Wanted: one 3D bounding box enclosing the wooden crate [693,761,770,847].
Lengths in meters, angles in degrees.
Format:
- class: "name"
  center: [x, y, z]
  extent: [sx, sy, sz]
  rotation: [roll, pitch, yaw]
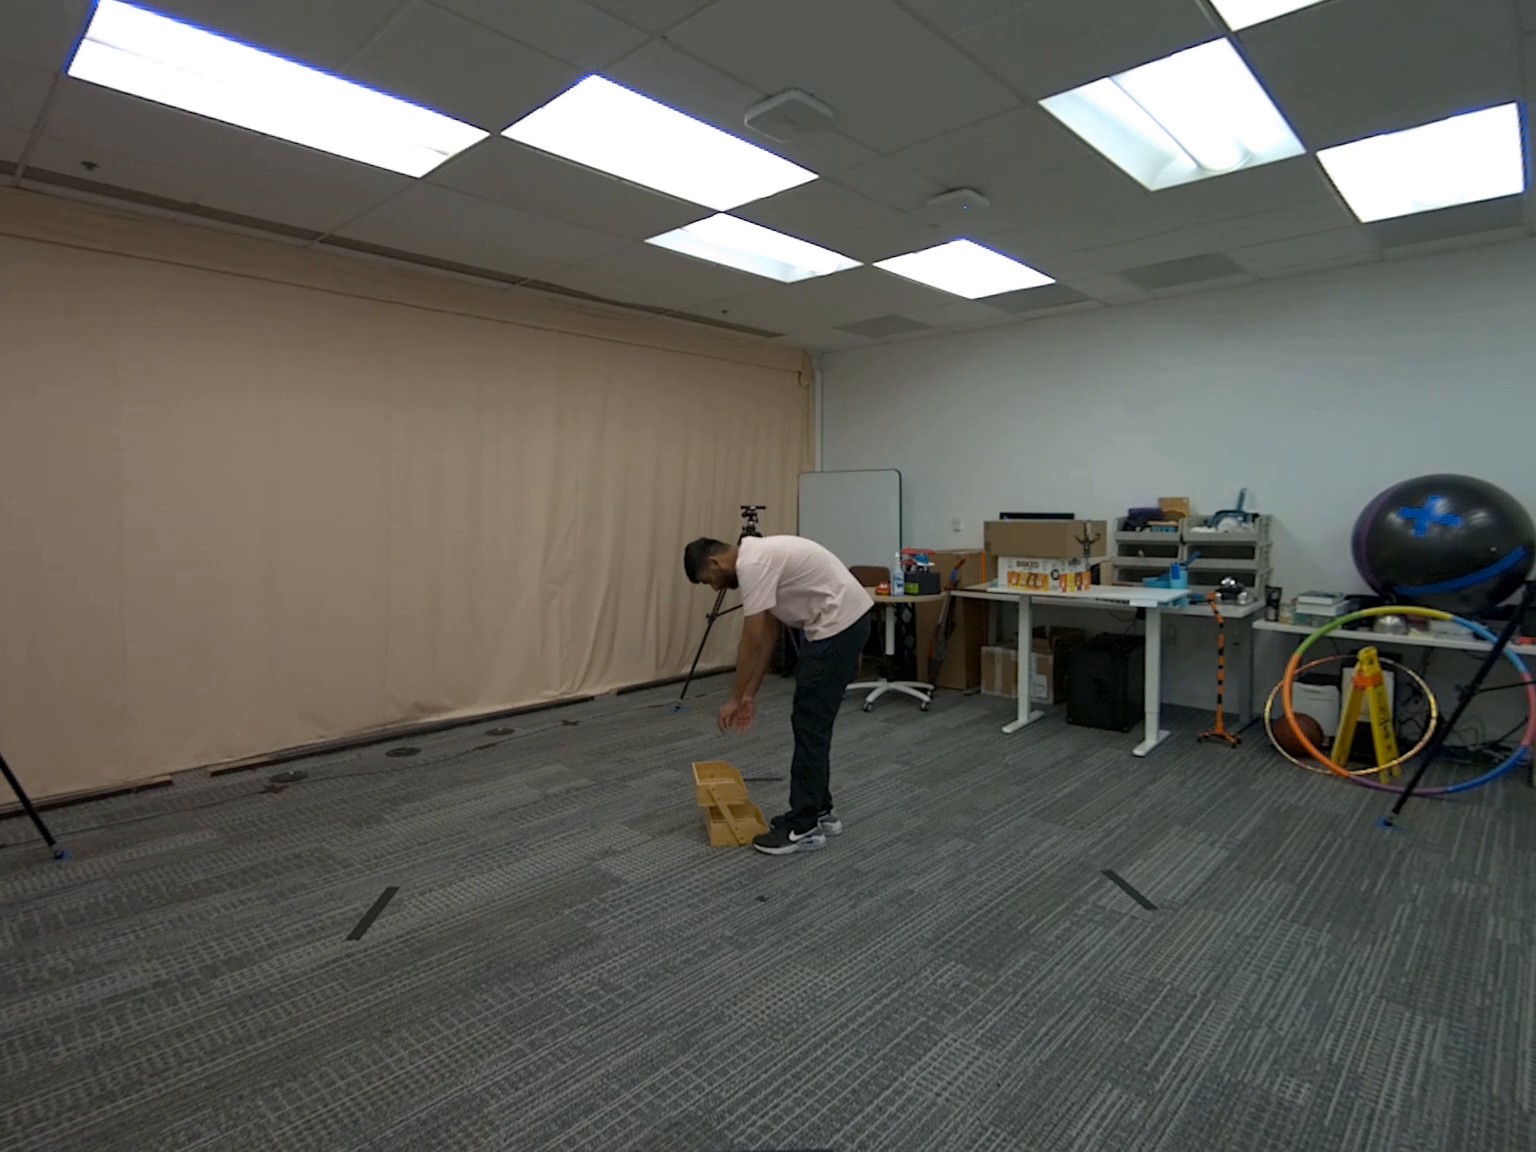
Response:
- class: "wooden crate"
  center: [-0.159, 0.965, 3.607]
  extent: [0.300, 0.273, 0.328]
  rotation: [-3, 4, -8]
